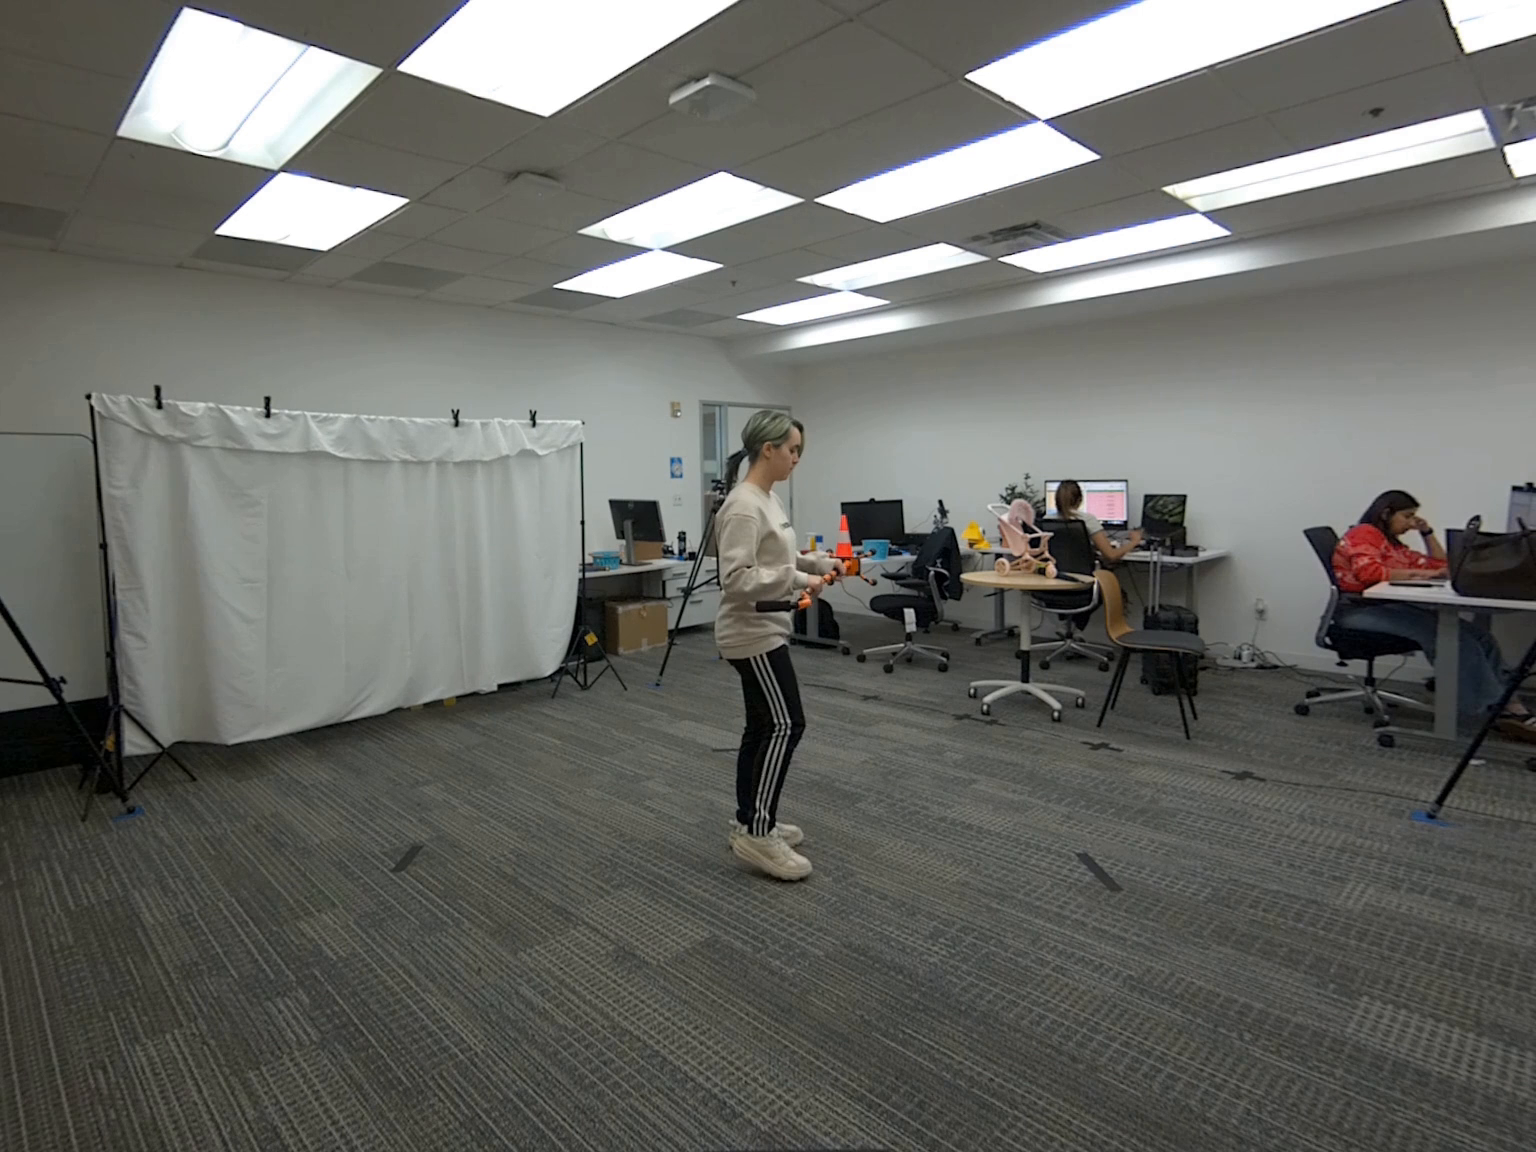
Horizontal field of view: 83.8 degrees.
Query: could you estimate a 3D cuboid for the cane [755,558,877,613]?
[{"bbox_3d":[0.201,0.034,3.009,0.210,0.150,0.897,0,9,19],"label":"cane"}]
